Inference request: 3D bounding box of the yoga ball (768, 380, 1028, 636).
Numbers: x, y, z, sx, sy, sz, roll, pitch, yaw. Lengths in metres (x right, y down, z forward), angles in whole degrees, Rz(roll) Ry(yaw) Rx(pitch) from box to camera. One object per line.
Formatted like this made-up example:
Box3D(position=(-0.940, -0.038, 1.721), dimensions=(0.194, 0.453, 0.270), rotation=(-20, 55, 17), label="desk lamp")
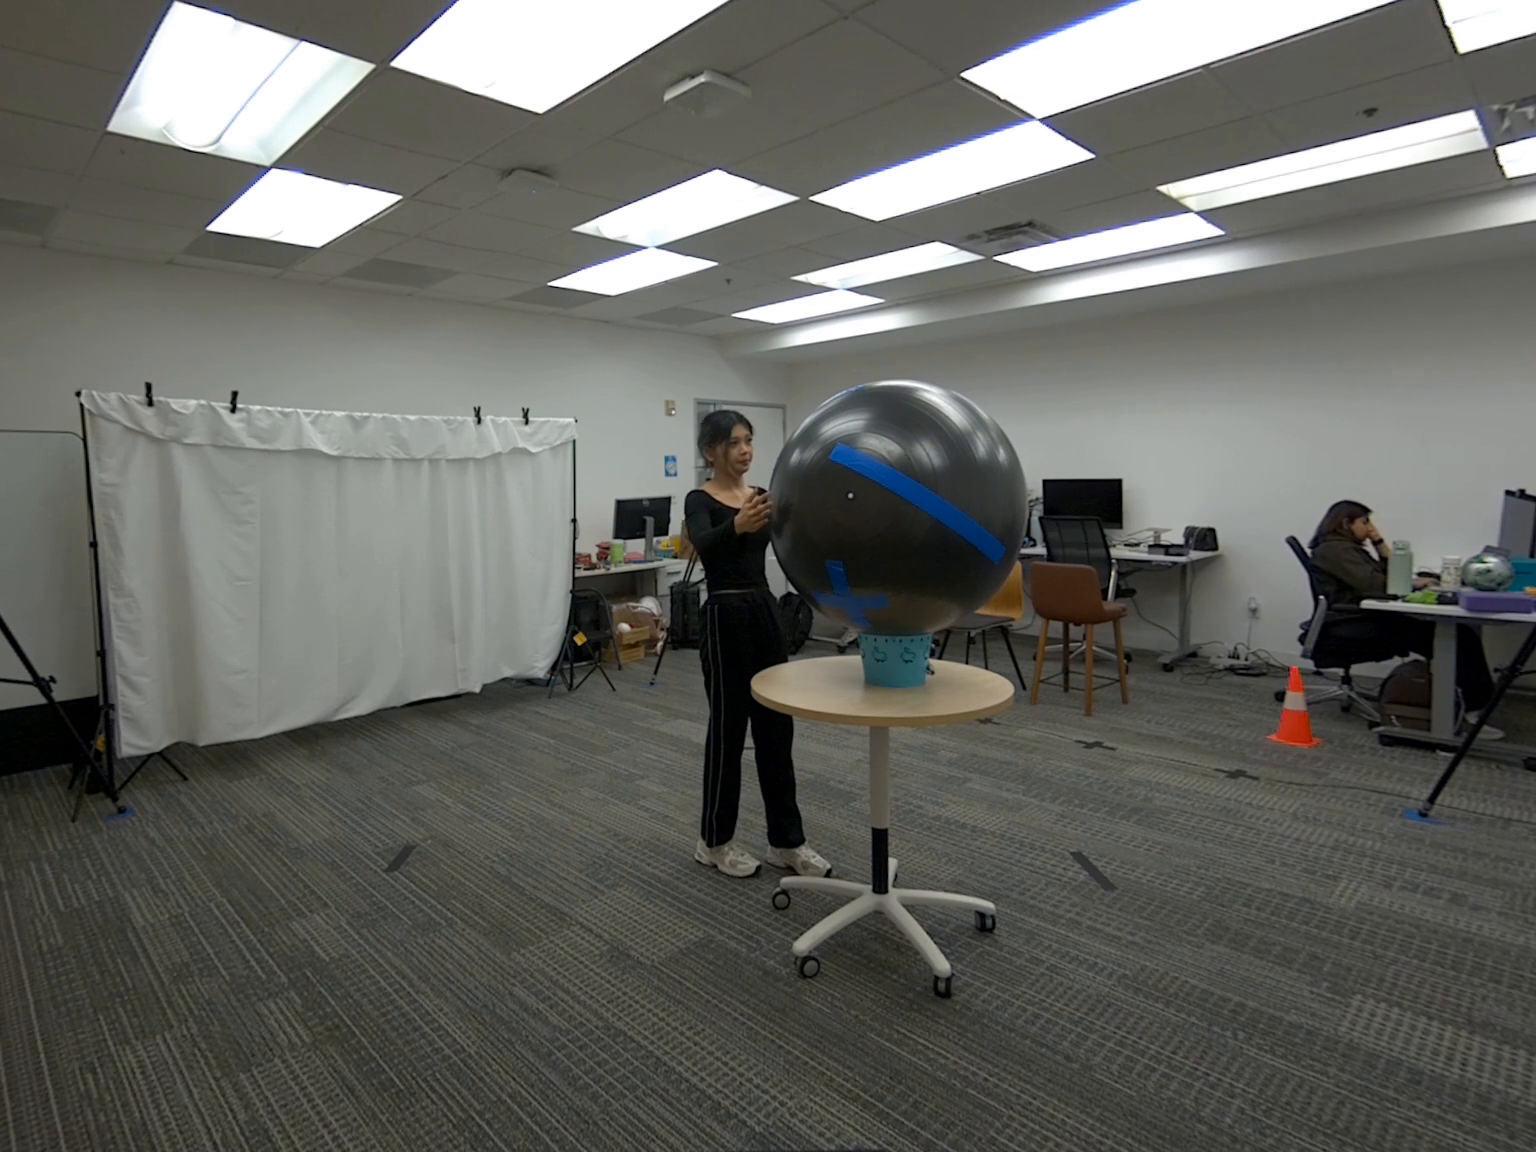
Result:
Box3D(position=(0.378, -0.193, 2.536), dimensions=(0.757, 0.755, 0.762), rotation=(-1, 5, -2), label="yoga ball")
